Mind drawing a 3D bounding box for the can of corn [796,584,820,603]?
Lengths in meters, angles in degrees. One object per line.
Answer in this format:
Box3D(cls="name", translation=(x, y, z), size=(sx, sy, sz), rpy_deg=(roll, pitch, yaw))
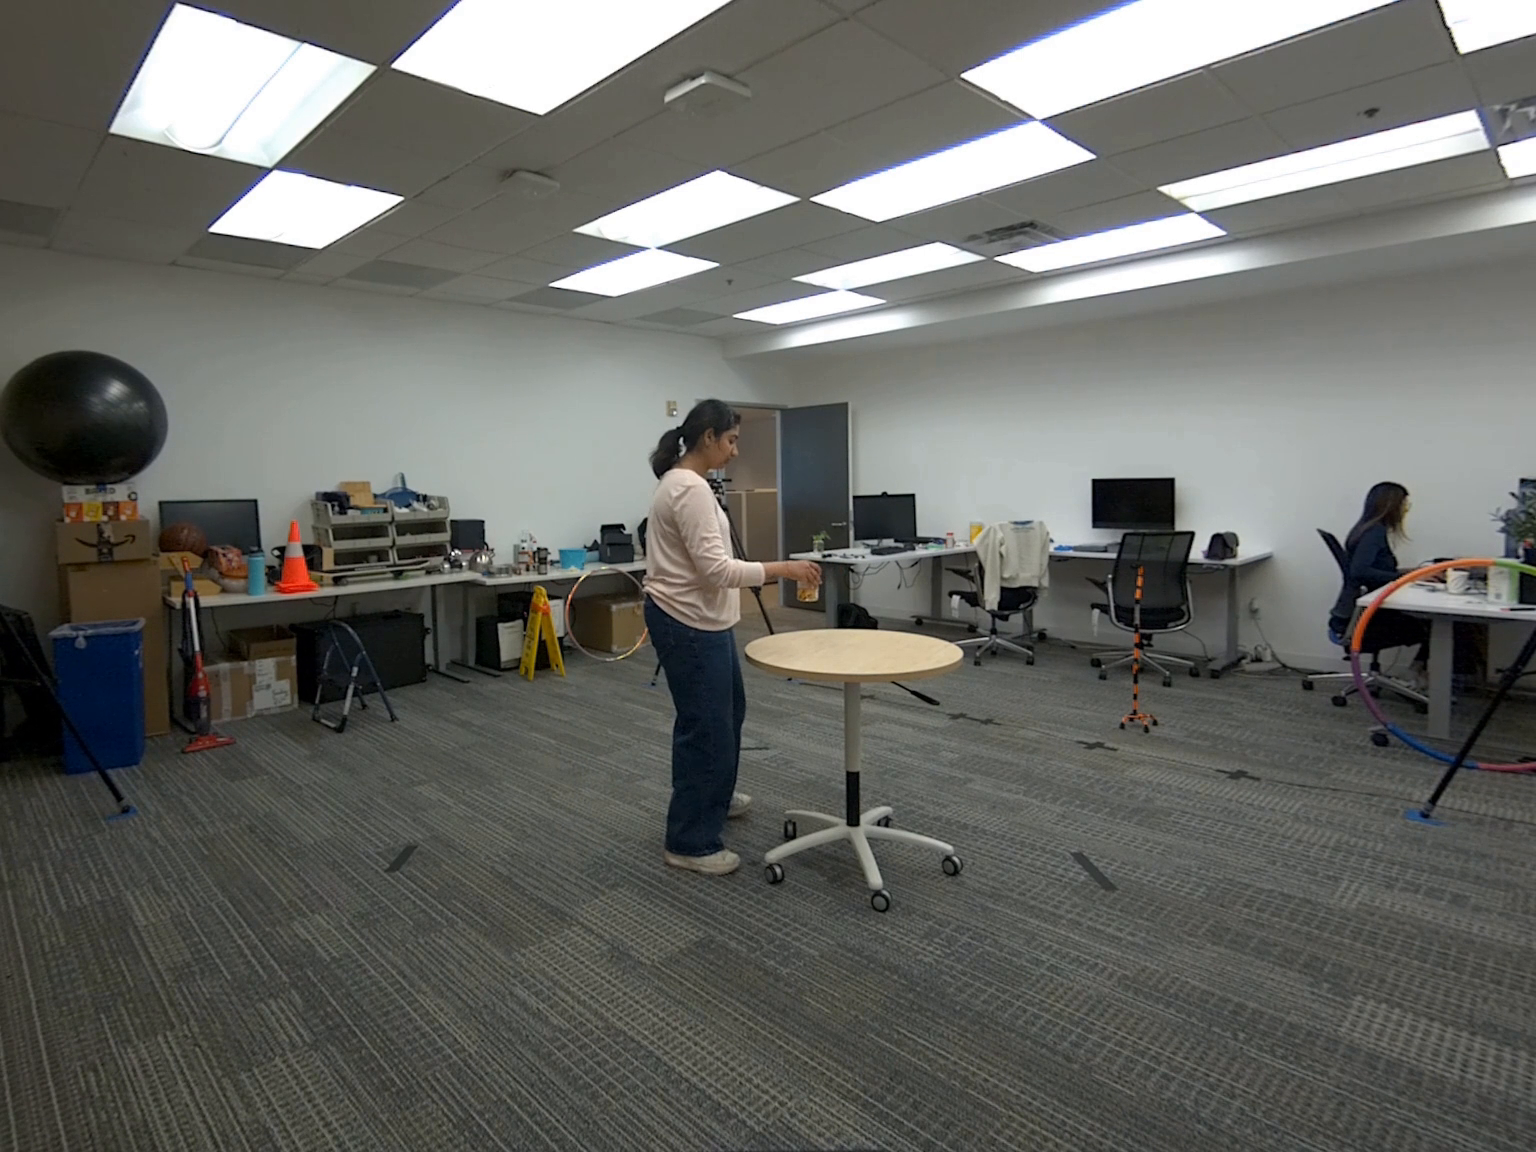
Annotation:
Box3D(cls="can of corn", translation=(0.143, 0.026, 3.053), size=(0.074, 0.111, 0.074), rpy_deg=(0, 1, -2))
